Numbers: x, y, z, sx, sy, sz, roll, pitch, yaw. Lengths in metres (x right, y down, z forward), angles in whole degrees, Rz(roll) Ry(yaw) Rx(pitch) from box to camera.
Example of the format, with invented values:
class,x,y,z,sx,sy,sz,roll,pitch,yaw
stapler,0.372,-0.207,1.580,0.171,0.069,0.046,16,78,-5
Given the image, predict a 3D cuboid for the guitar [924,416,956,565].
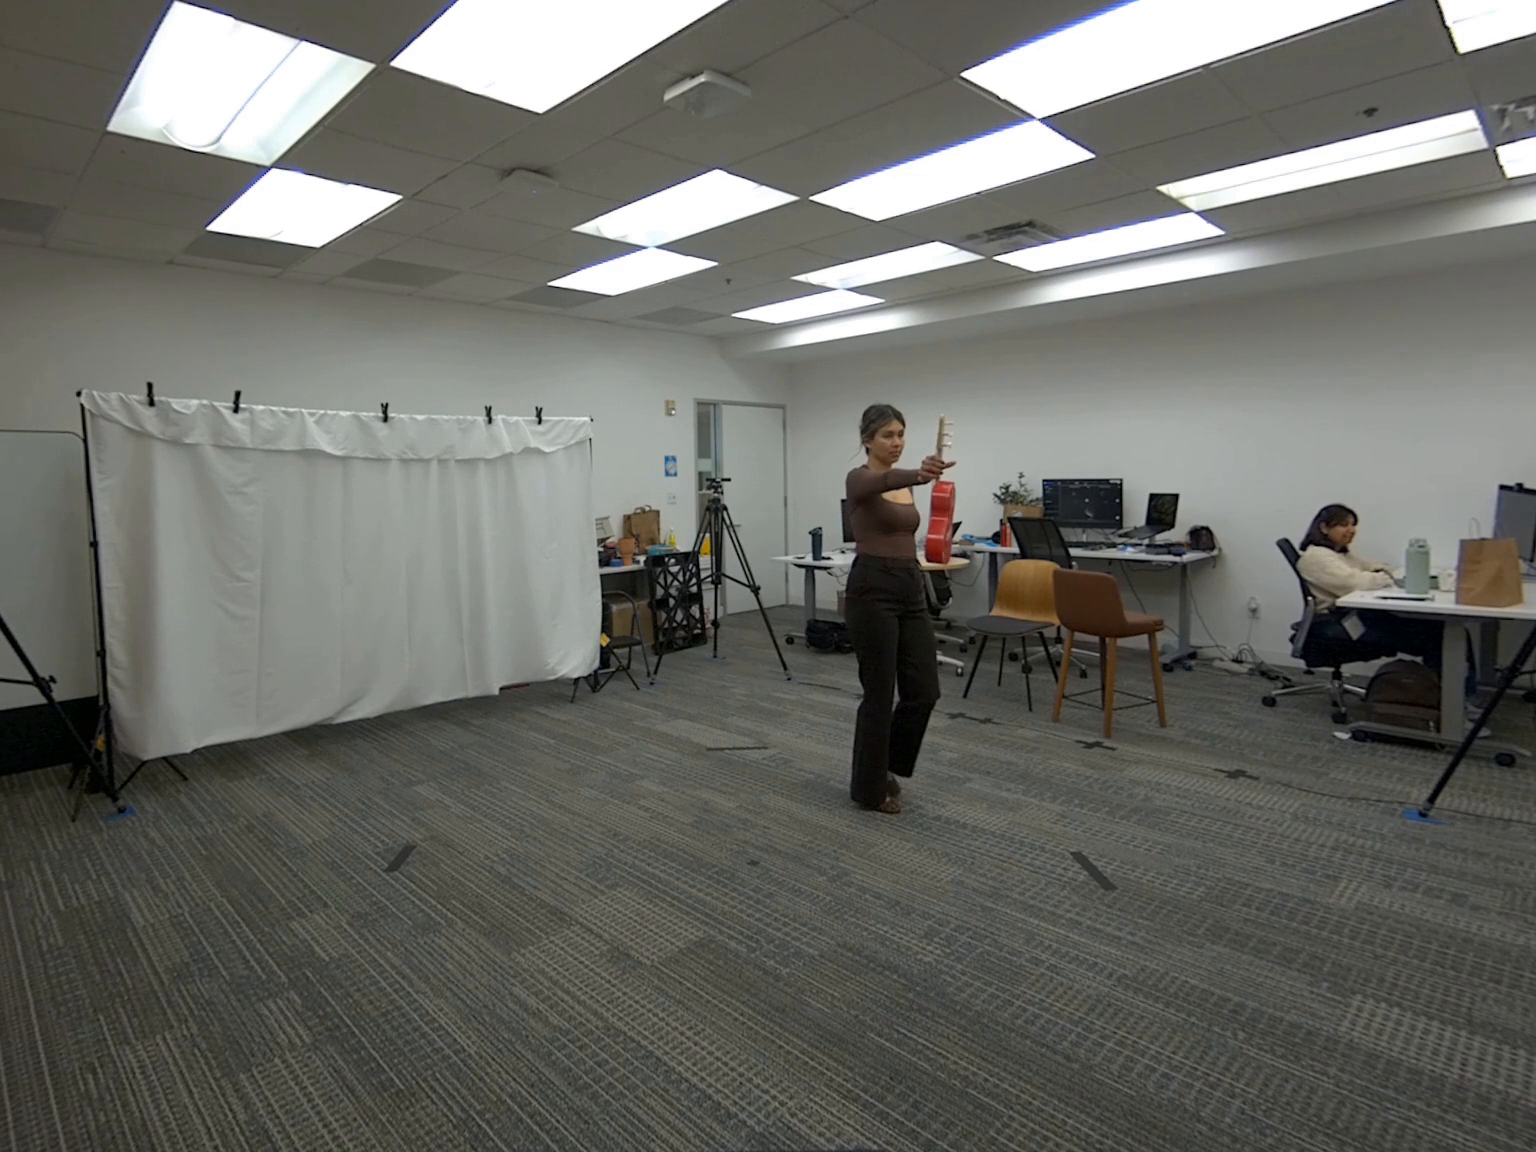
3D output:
class,x,y,z,sx,sy,sz,roll,pitch,yaw
guitar,0.581,-0.284,2.846,0.072,0.494,0.191,4,9,19
